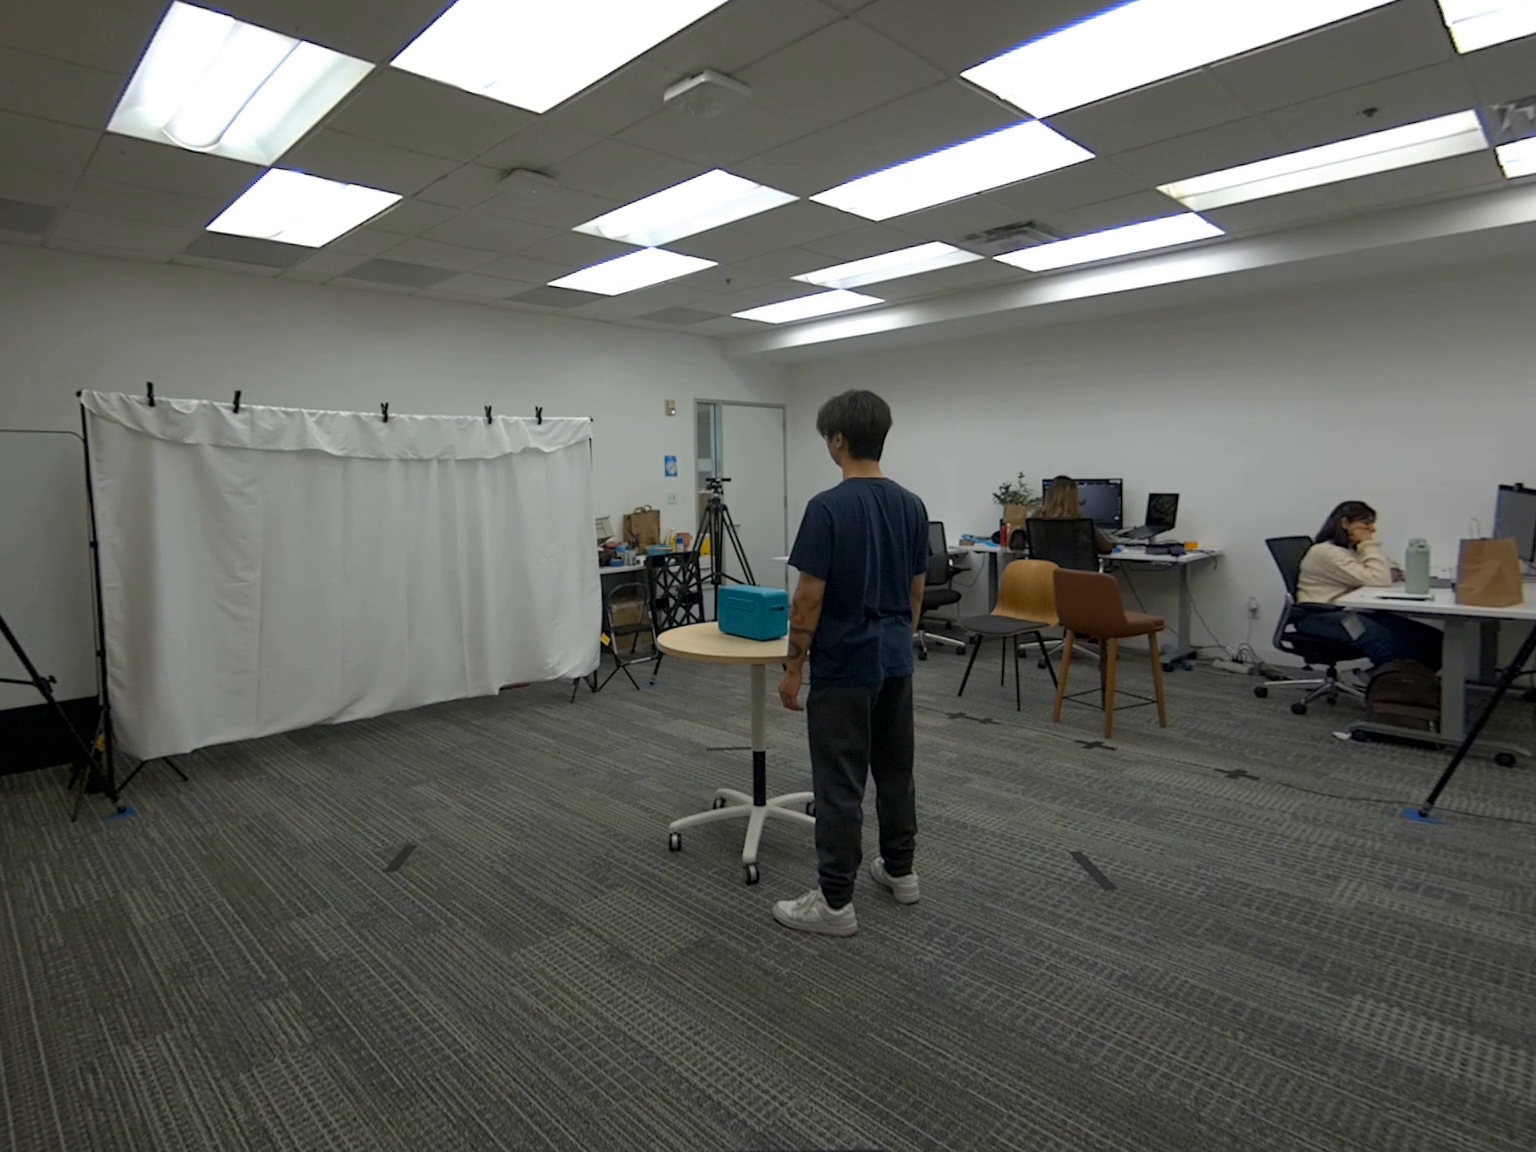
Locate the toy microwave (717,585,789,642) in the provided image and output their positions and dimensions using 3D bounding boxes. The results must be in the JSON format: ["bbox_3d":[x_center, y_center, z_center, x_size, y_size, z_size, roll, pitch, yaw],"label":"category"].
[{"bbox_3d":[-0.052,0.137,3.265,0.148,0.183,0.295,-4,6,-38],"label":"toy microwave"}]
